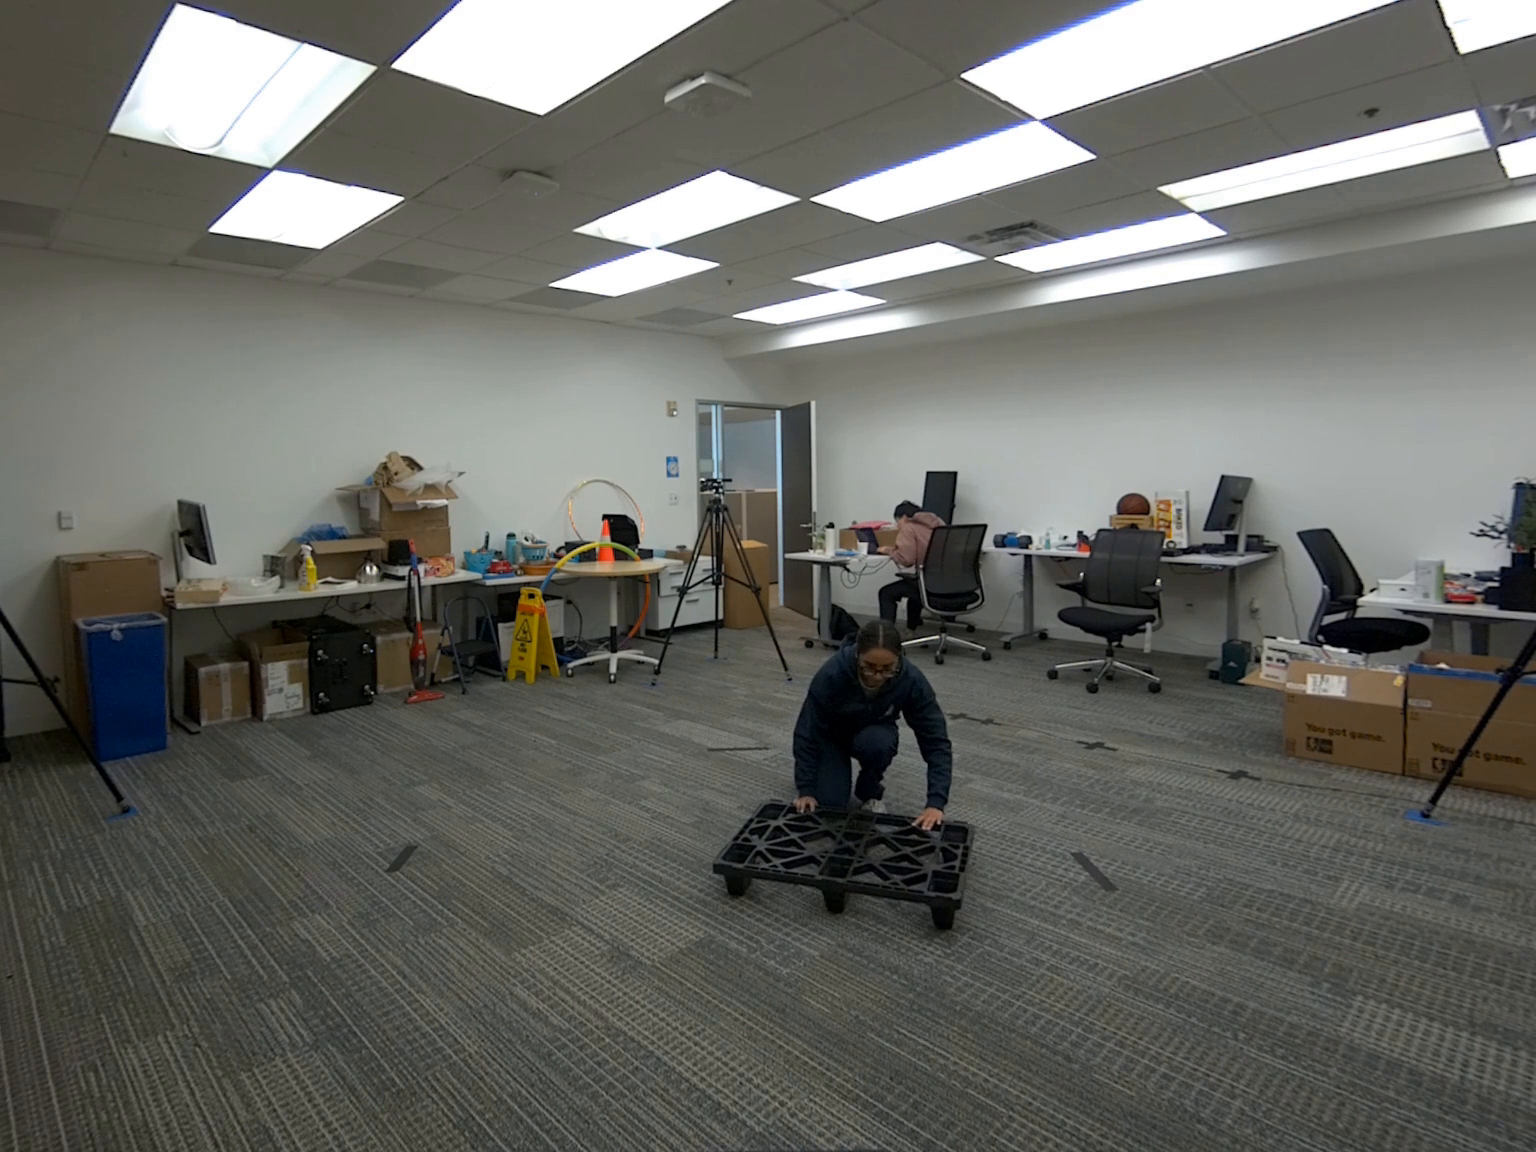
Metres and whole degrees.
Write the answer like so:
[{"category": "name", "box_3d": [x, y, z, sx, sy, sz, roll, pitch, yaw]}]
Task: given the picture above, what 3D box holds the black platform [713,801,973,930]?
[{"category": "black platform", "box_3d": [0.278, 0.987, 2.967, 0.821, 0.143, 0.596, 1, 6, 19]}]
